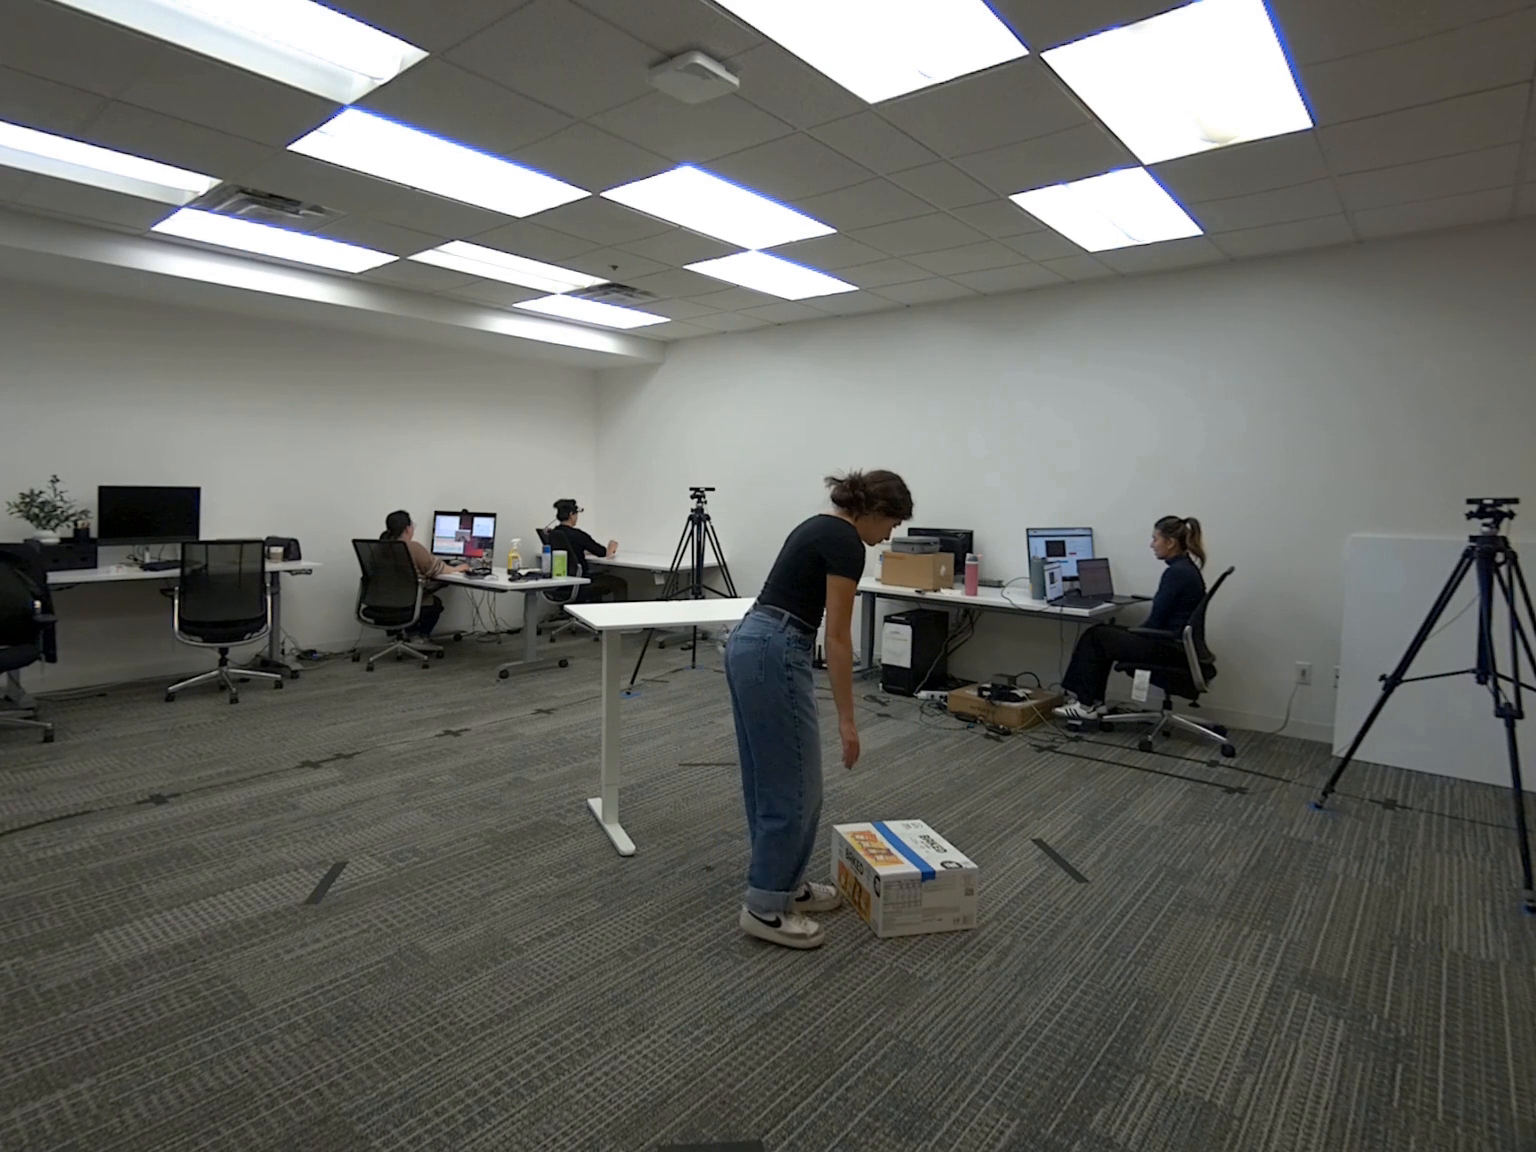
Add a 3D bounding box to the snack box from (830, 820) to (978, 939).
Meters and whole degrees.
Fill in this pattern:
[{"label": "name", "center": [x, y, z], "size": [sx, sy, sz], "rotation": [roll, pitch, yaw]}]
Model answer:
[{"label": "snack box", "center": [0.443, 1.002, 2.868], "size": [0.335, 0.205, 0.413], "rotation": [0, 5, -16]}]
